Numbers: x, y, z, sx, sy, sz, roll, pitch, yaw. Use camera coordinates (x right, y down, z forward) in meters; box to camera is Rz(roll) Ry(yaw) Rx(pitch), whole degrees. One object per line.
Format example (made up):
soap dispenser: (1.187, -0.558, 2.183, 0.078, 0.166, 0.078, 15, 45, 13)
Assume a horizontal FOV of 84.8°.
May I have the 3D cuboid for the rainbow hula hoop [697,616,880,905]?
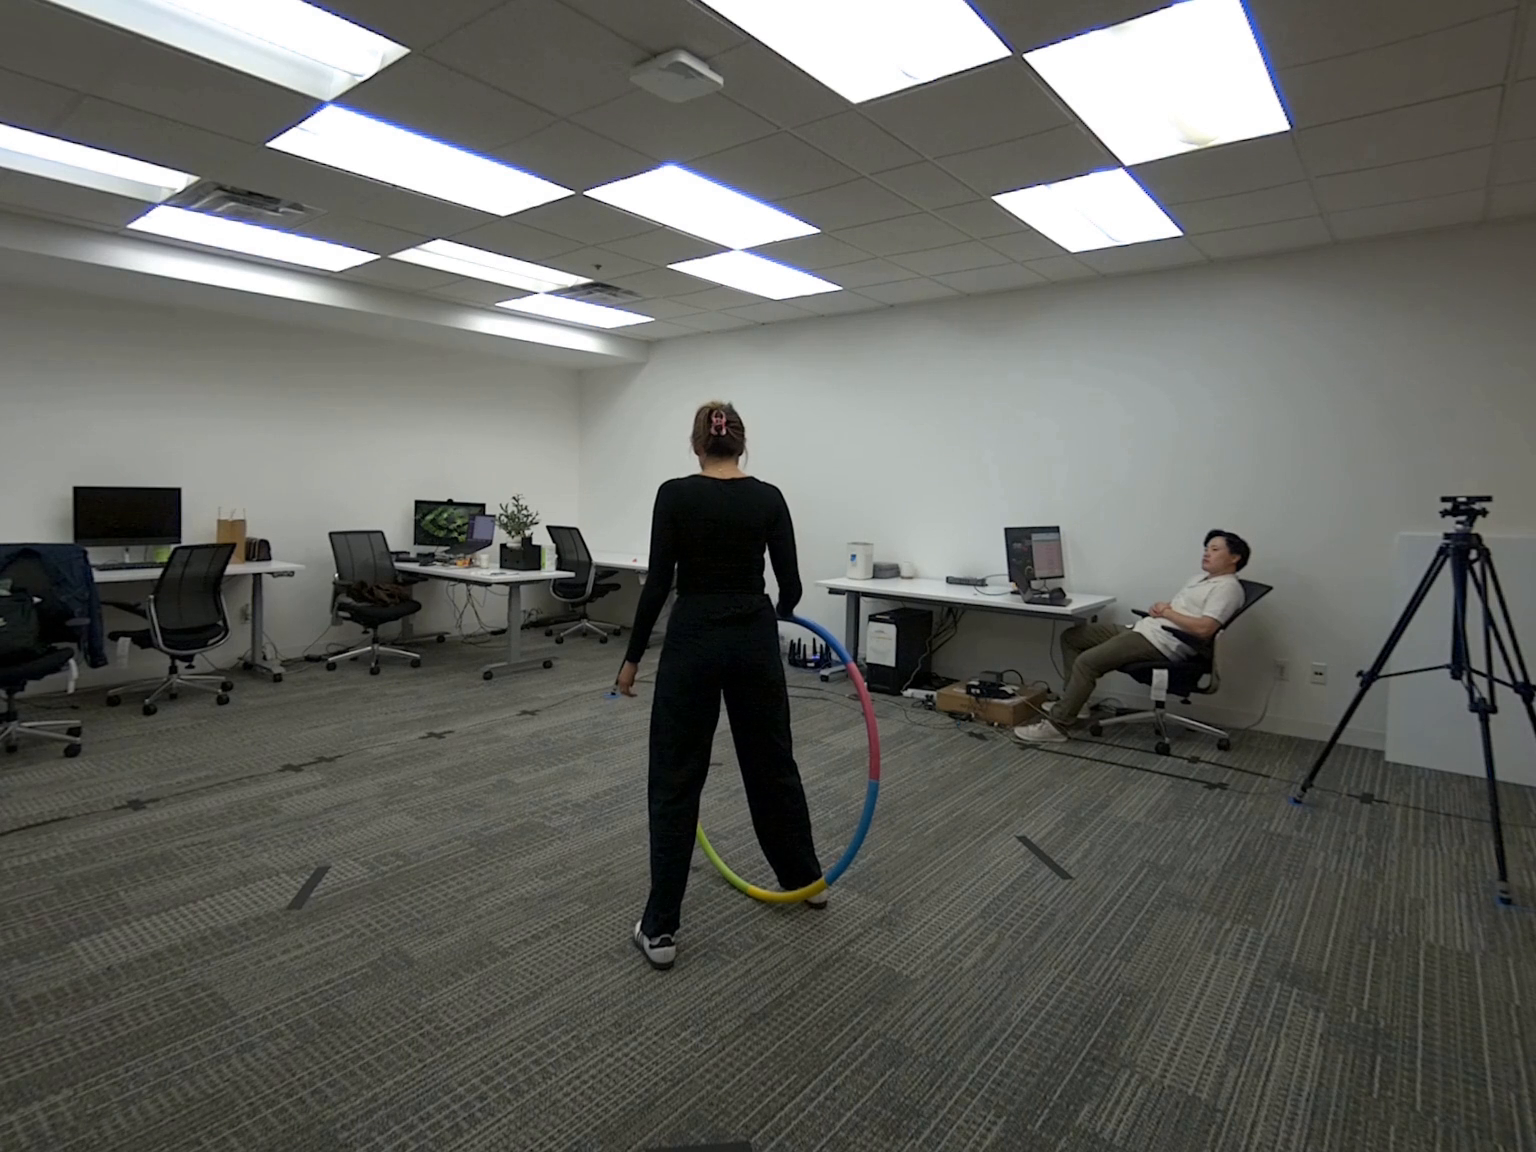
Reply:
rainbow hula hoop: (-0.017, 0.604, 2.962, 0.034, 0.981, 1.012, 12, -4, -40)
